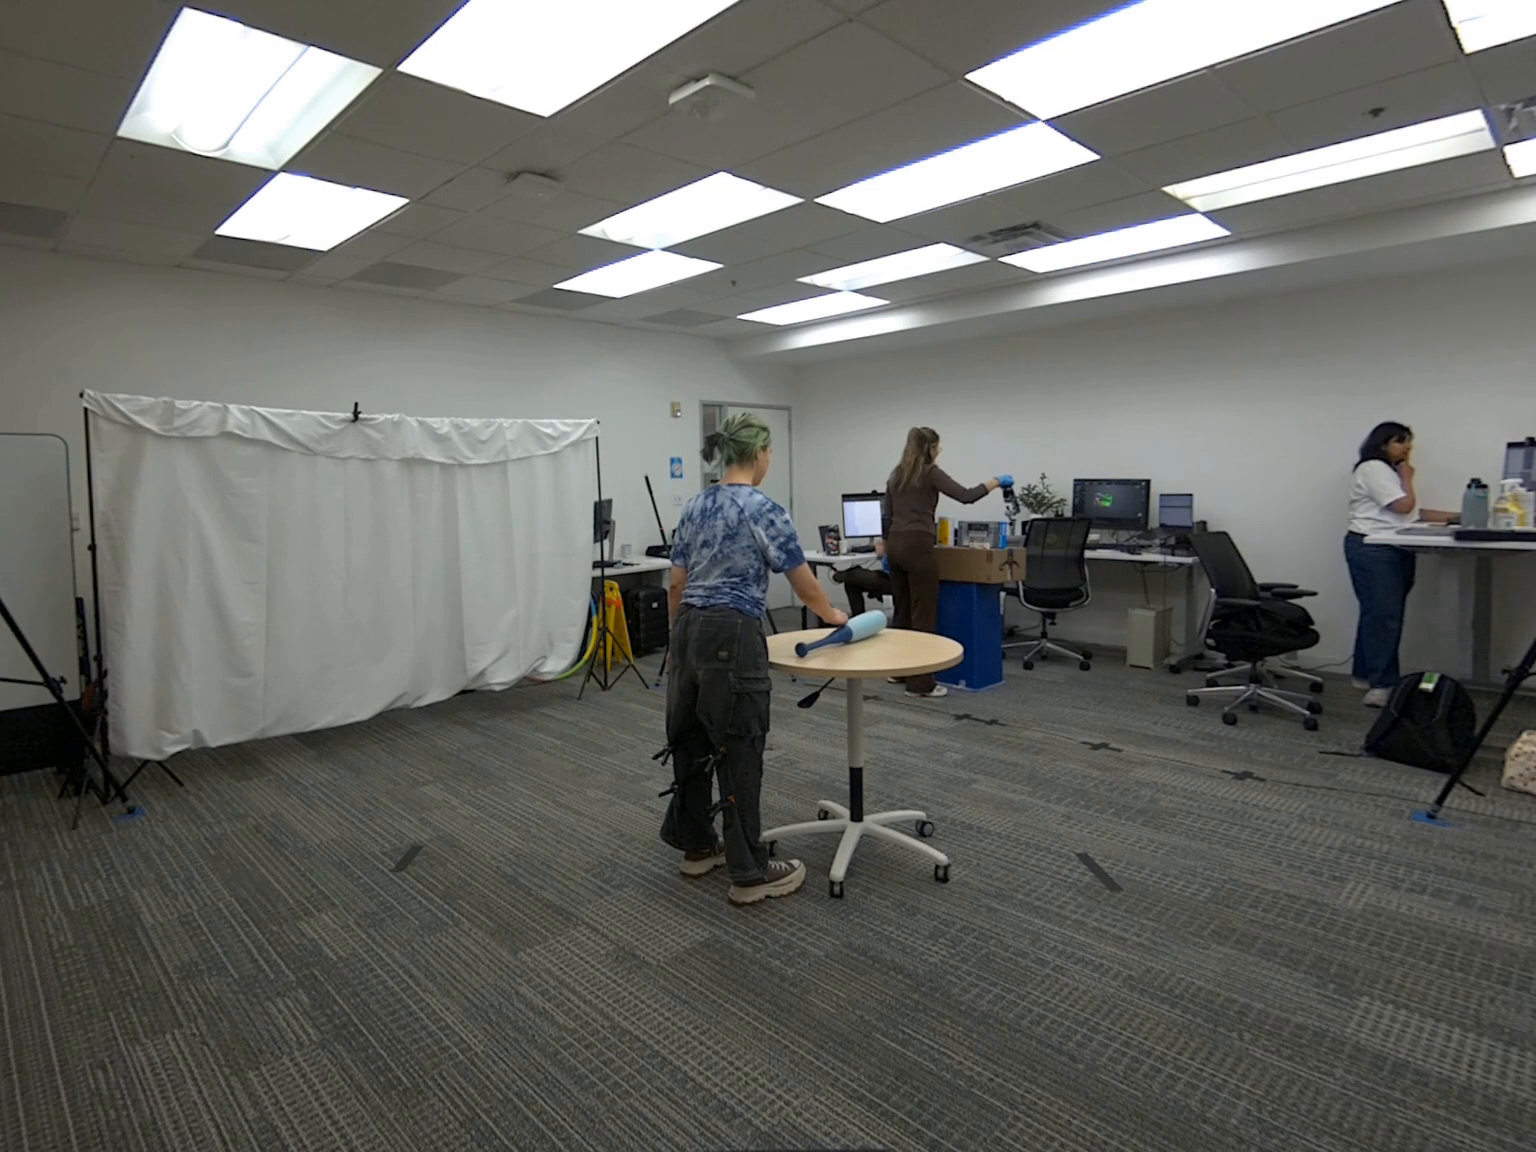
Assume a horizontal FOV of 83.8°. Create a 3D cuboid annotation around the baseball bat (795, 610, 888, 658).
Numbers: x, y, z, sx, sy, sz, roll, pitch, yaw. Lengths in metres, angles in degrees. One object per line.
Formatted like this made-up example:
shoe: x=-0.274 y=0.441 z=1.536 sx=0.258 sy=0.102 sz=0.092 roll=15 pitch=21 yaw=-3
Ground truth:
baseball bat: x=0.271 y=0.220 z=3.134 sx=0.091 sy=0.088 sz=0.531 roll=2 pitch=11 yaw=37
